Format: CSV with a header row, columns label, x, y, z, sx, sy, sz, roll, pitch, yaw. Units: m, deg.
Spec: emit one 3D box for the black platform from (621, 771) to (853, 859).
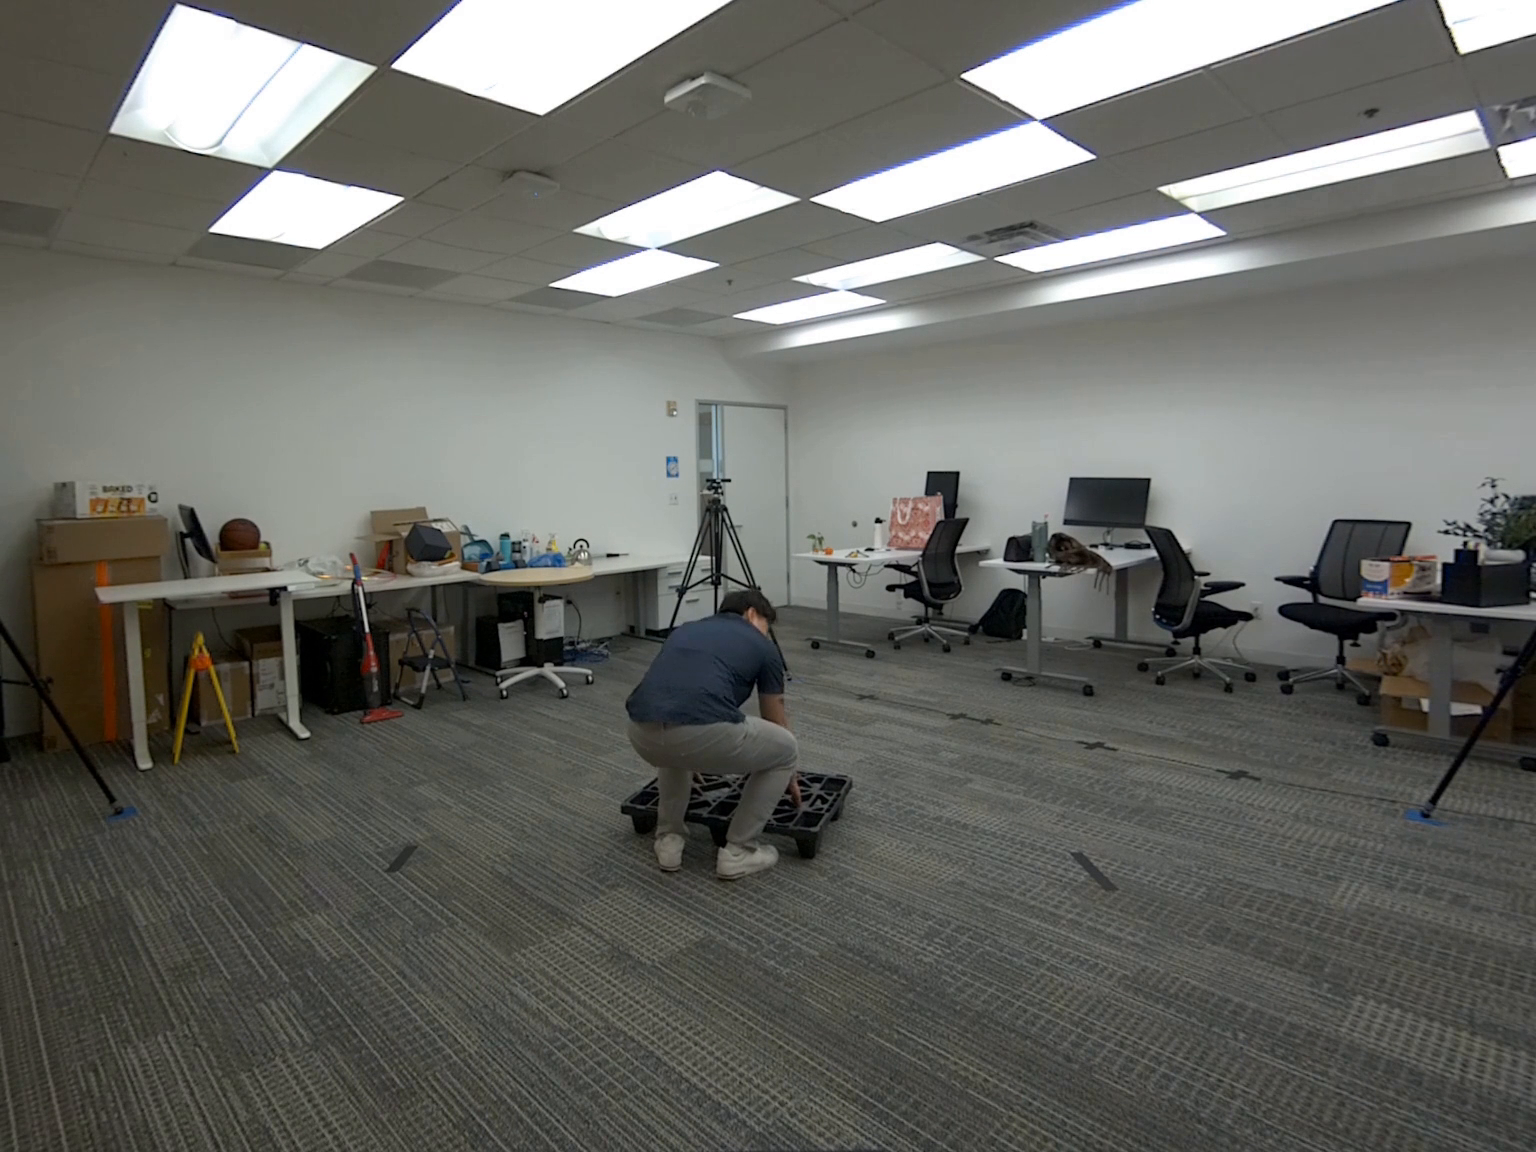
label,x,y,z,sx,sy,sz,roll,pitch,yaw
black platform,-0.105,0.936,3.476,0.821,0.142,0.597,1,7,20
